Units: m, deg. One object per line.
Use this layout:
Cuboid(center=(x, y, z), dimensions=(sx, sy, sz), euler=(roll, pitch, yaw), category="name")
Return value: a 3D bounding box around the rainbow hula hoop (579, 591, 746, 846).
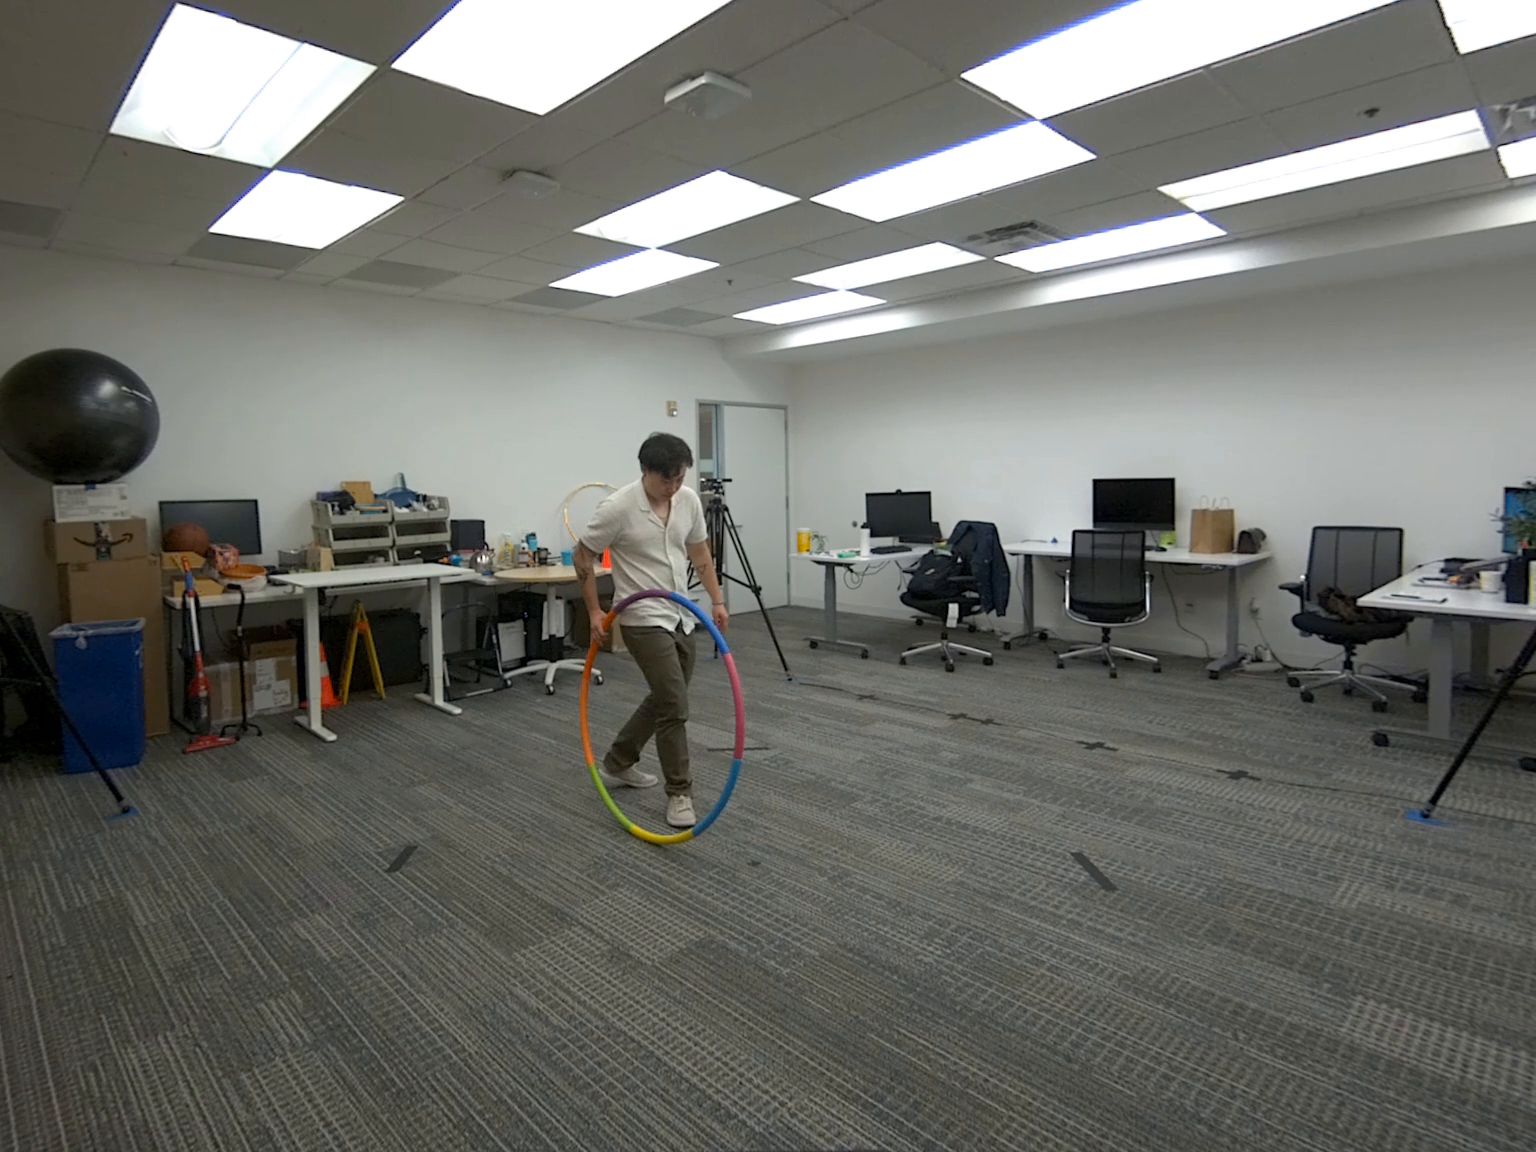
Cuboid(center=(-0.443, 0.547, 3.341), dimensions=(0.034, 0.980, 1.009), euler=(7, -2, -45), category="rainbow hula hoop")
